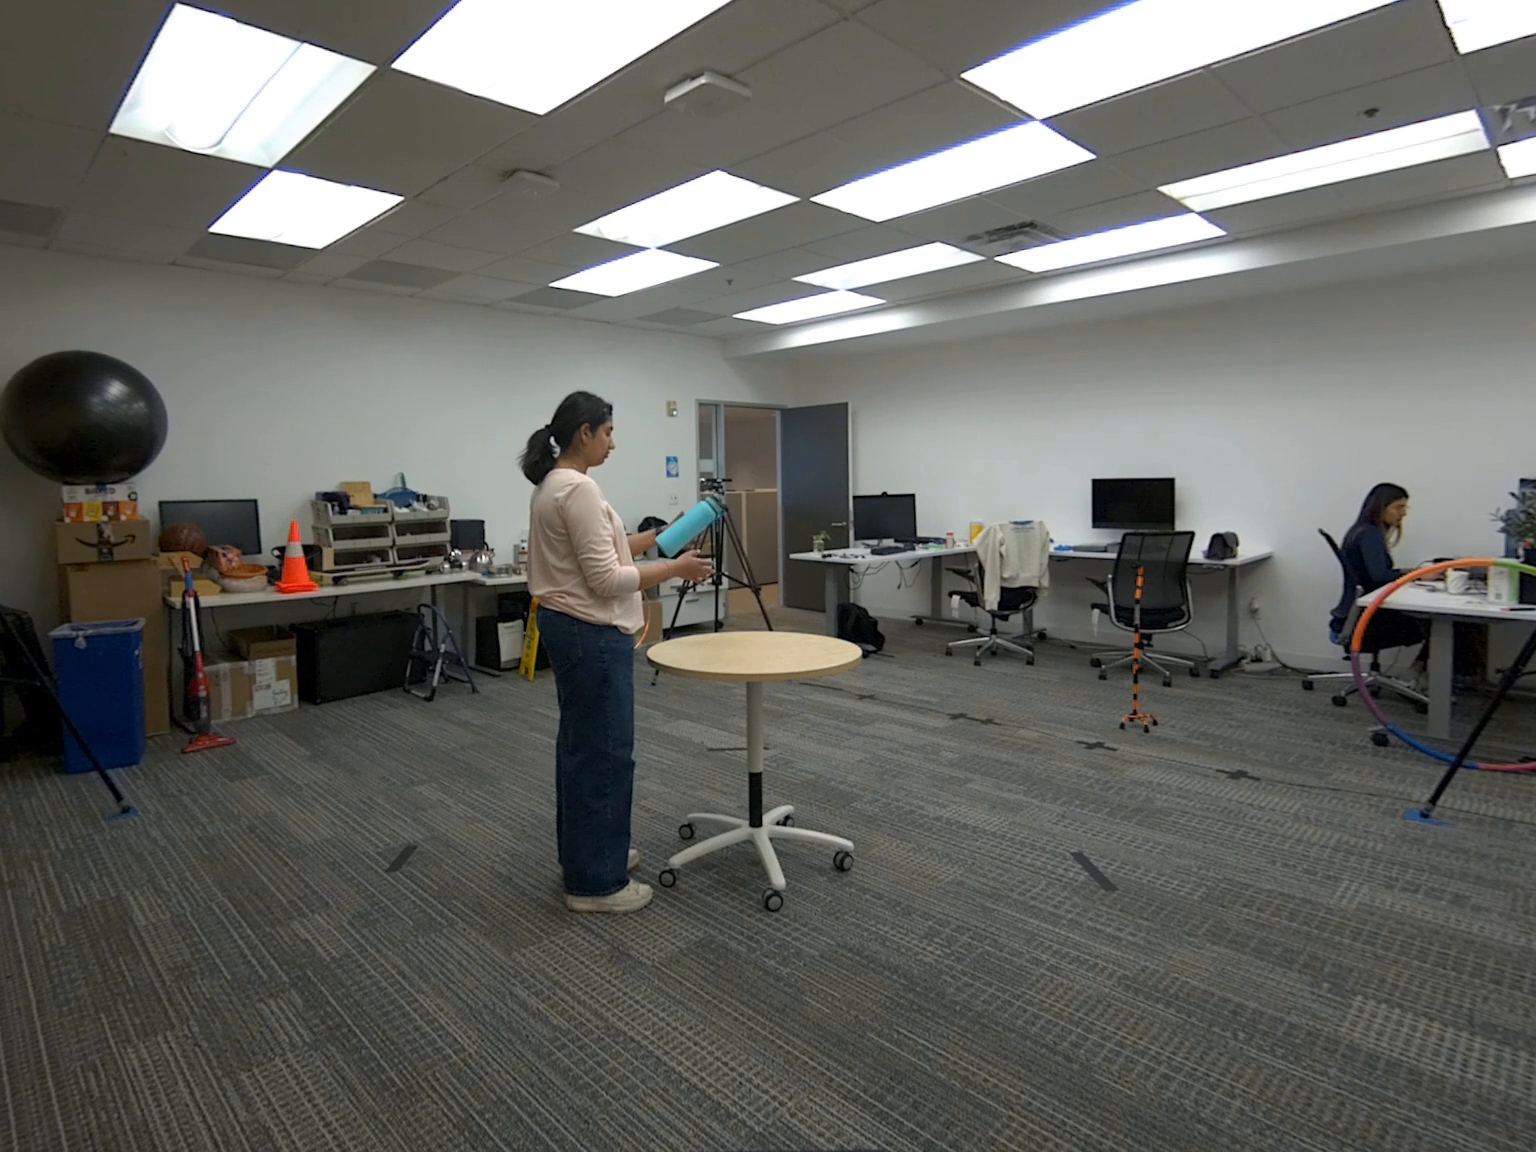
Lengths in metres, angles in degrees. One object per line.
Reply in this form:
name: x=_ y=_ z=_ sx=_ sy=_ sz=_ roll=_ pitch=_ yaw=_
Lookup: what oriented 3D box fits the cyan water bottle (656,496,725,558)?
cyan water bottle: x=-0.273 y=-0.180 z=3.078 sx=0.283 sy=0.091 sz=0.094 roll=-41 pitch=13 yaw=-8
